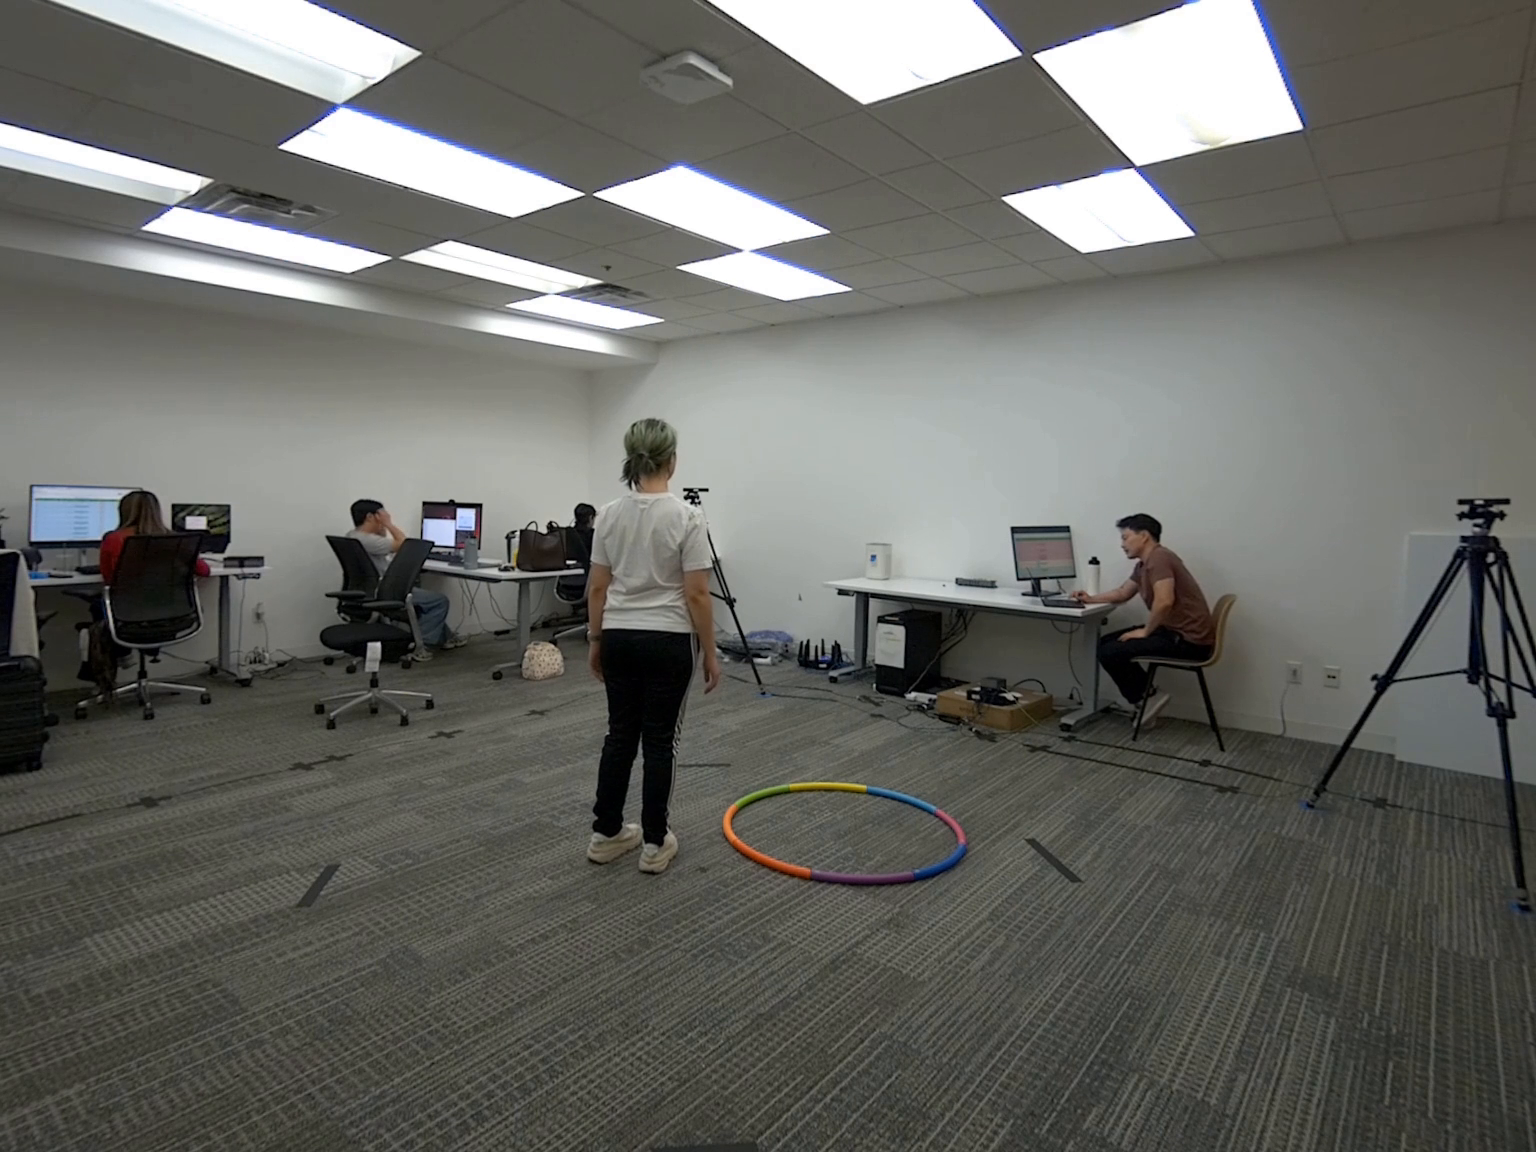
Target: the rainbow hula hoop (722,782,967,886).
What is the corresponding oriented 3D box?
[{"bbox_3d":[0.297,1.018,3.491,0.984,0.051,0.991,0,6,-2],"label":"rainbow hula hoop"}]
